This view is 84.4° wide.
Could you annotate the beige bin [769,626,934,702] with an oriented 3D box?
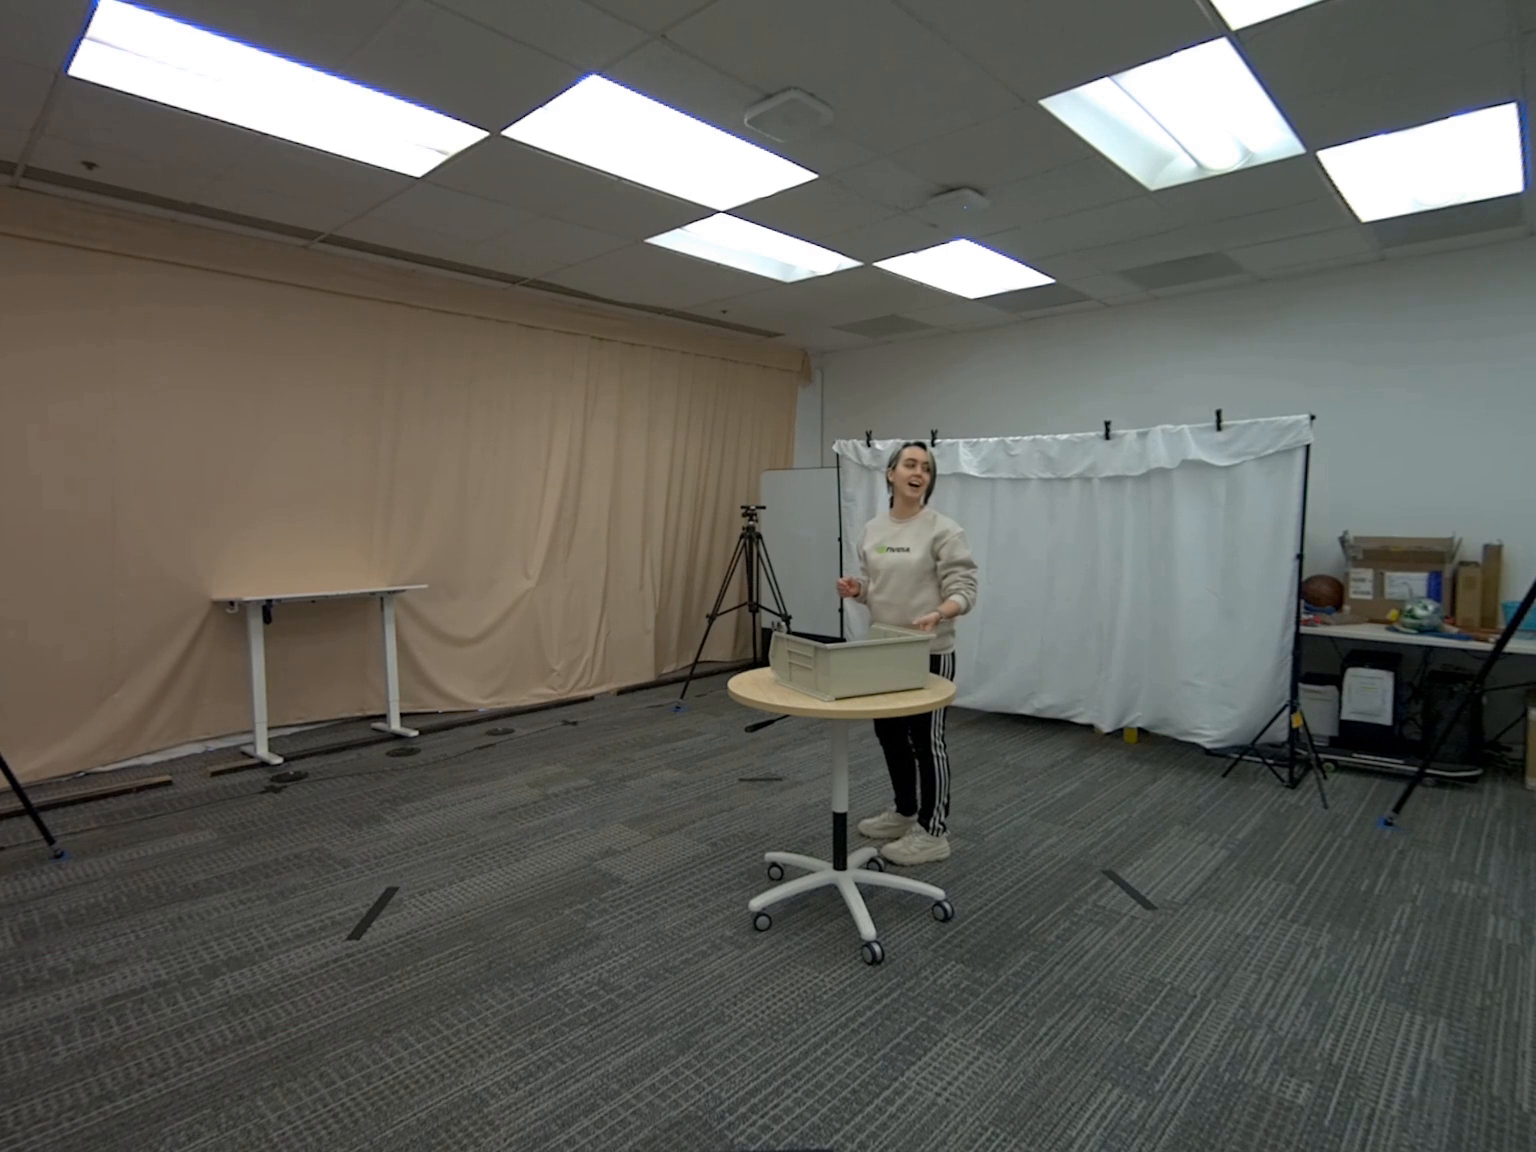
[{"bbox_3d":[0.280,0.283,2.832,0.412,0.188,0.387,-1,5,-25],"label":"beige bin"}]
